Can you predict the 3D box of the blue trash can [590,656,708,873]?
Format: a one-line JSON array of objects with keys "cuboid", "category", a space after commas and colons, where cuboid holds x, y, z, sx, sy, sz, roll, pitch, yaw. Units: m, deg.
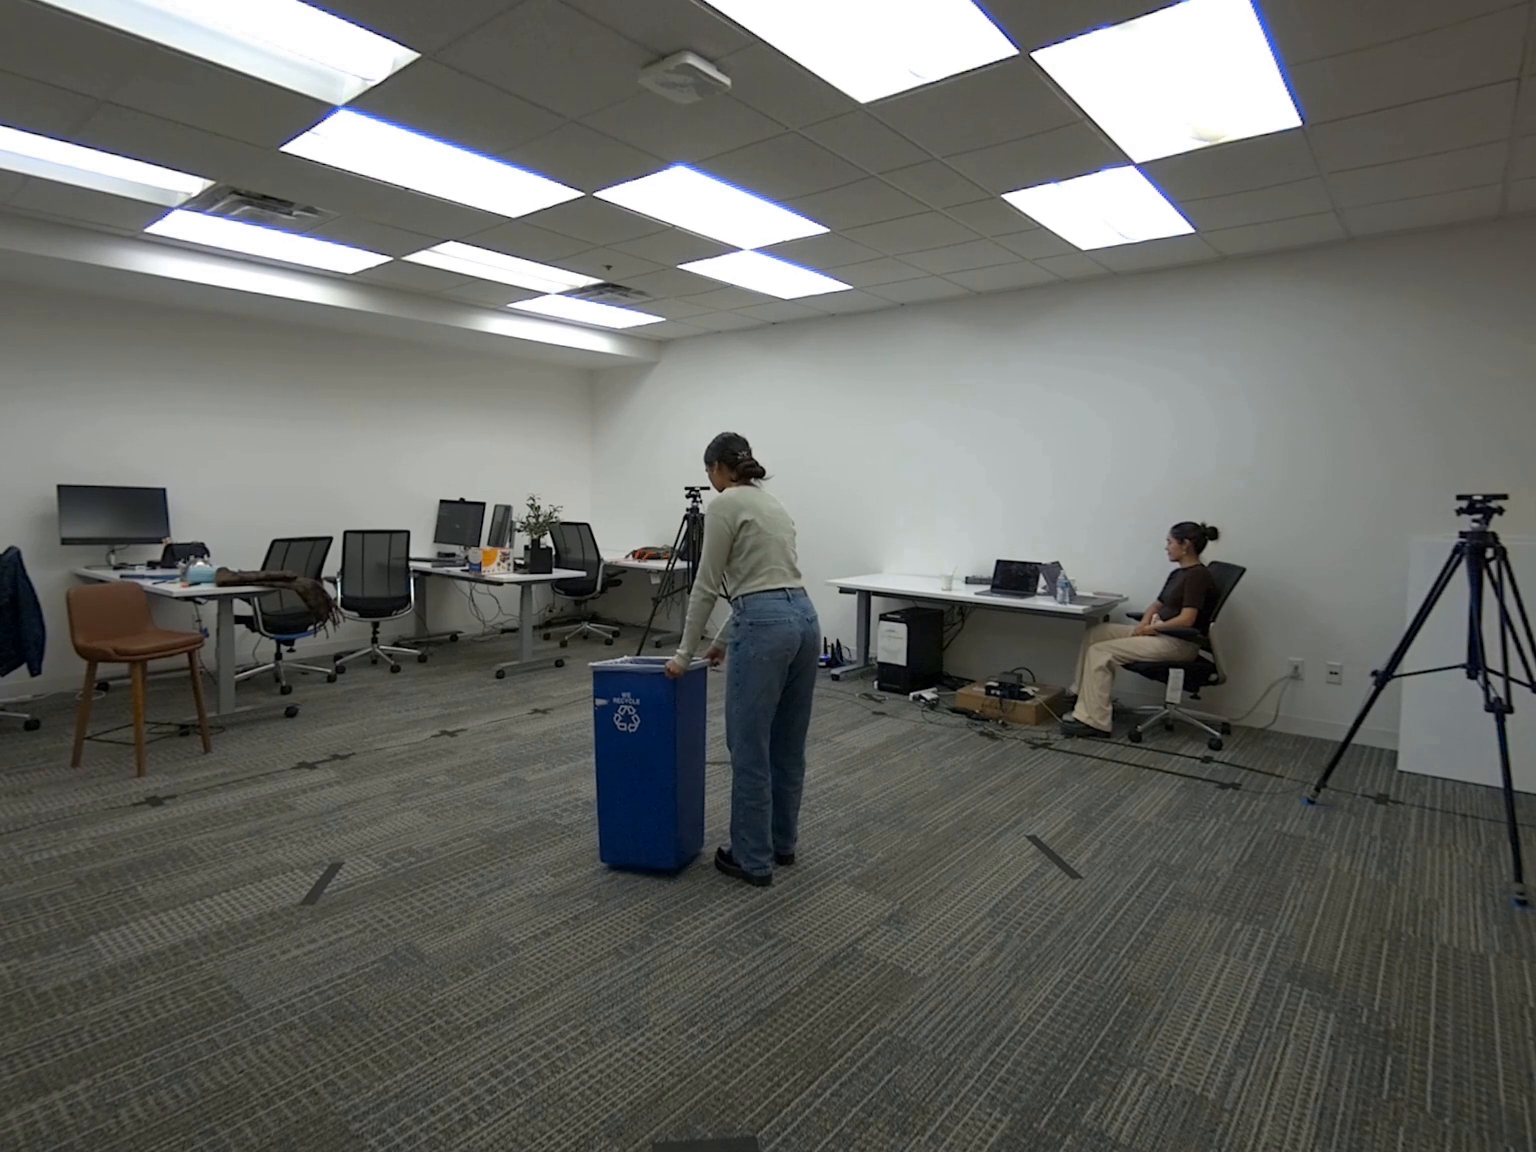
[{"cuboid": [-0.436, 0.677, 3.198, 0.381, 0.716, 0.370, -2, -4, 18], "category": "blue trash can"}]
